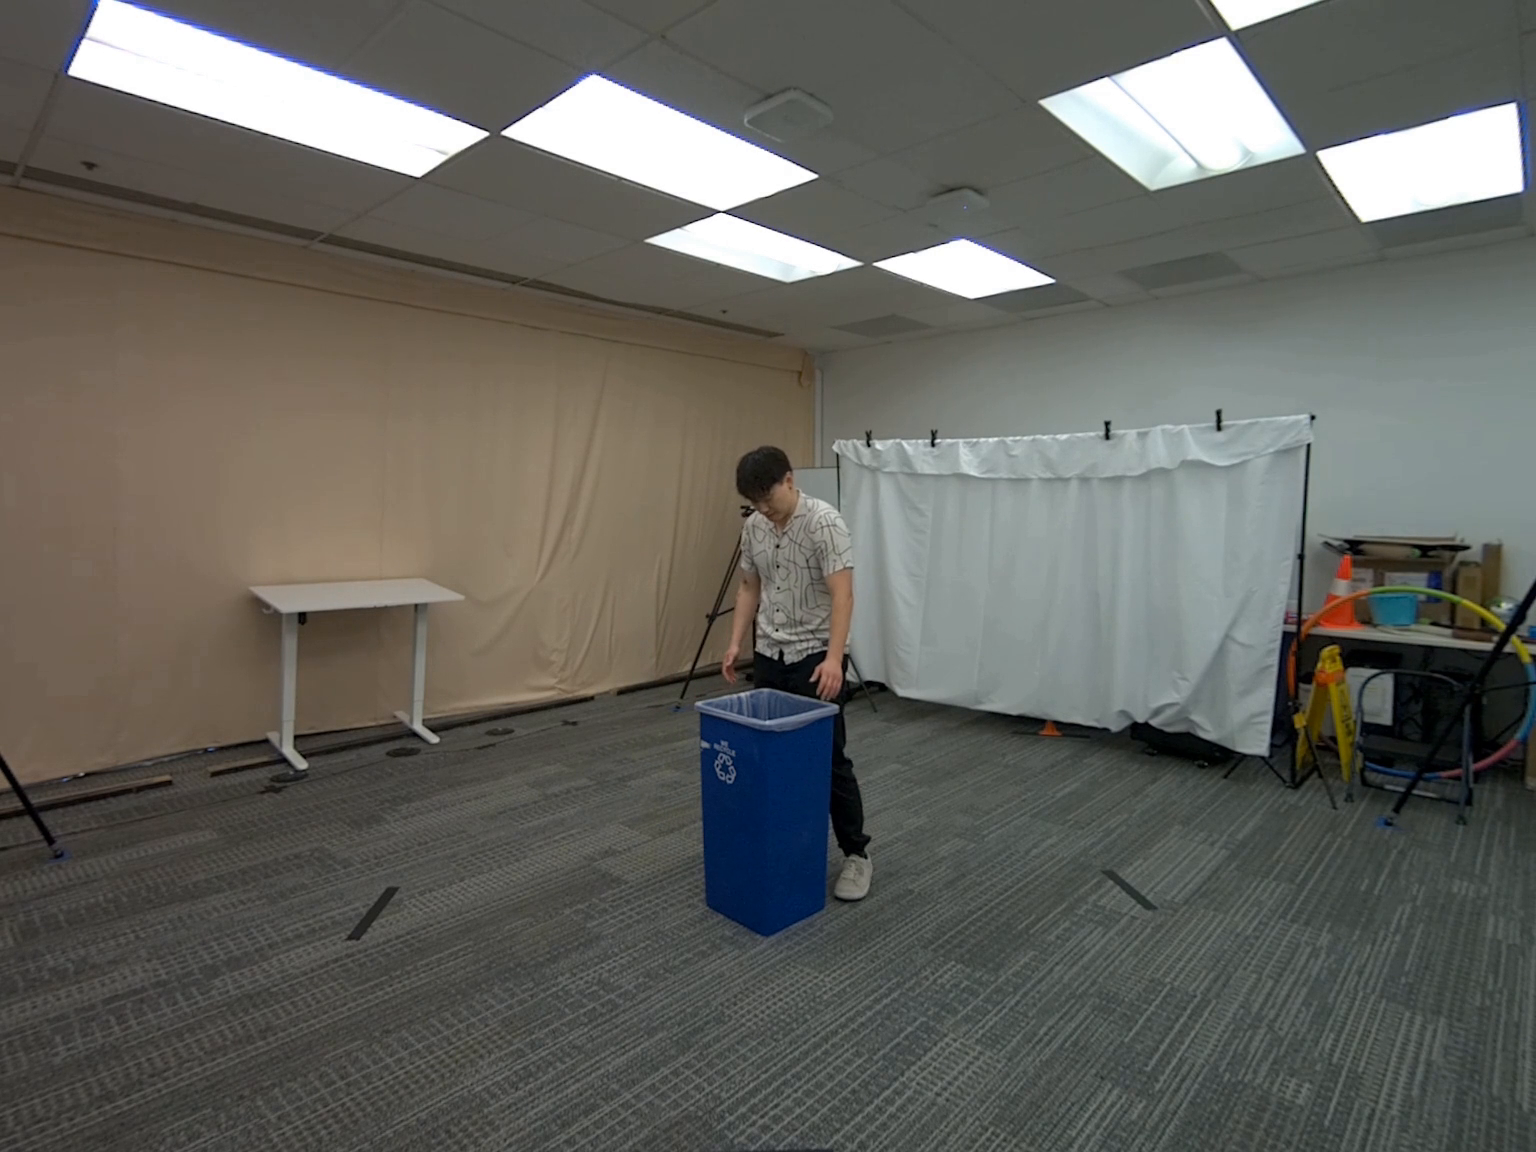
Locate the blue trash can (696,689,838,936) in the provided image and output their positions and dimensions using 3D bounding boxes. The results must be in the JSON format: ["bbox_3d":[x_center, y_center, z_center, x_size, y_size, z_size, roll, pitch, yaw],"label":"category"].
[{"bbox_3d":[-0.009,0.792,2.894,0.391,0.712,0.362,4,5,45],"label":"blue trash can"}]
